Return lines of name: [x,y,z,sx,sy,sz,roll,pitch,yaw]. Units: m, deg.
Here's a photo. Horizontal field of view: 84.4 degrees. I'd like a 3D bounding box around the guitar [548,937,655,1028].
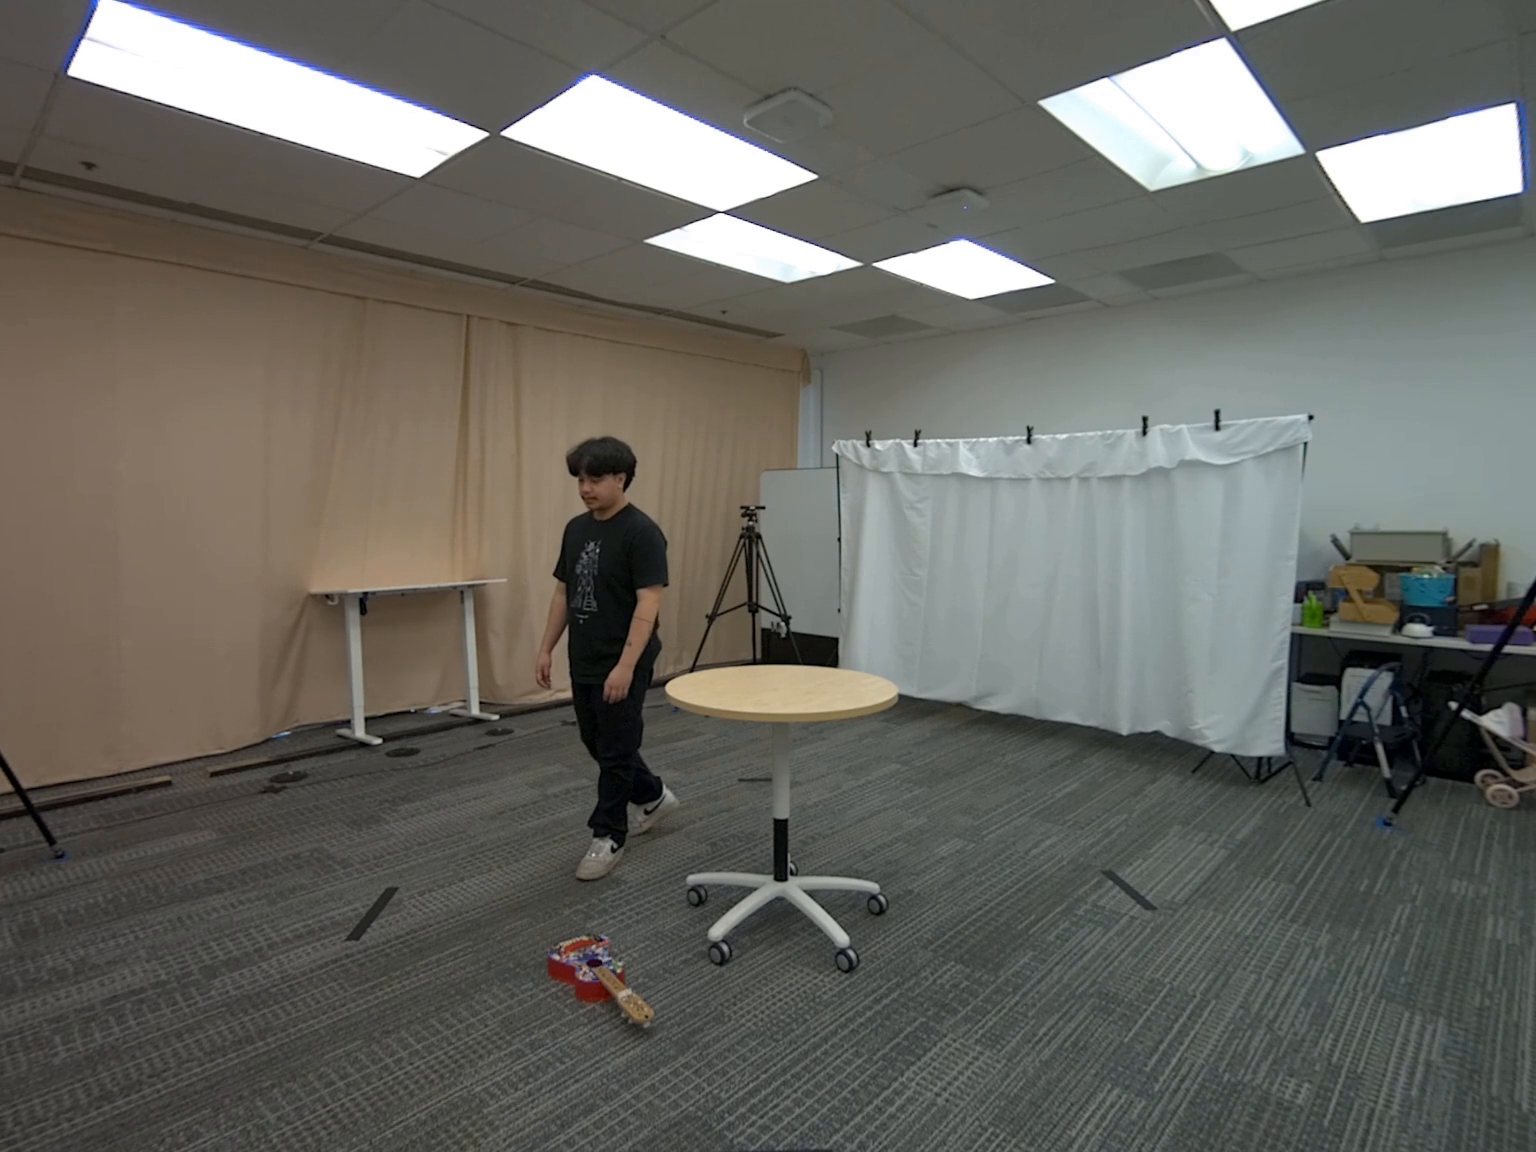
guitar: [-0.487,1.166,2.382,0.188,0.070,0.511,-2,4,-27]
